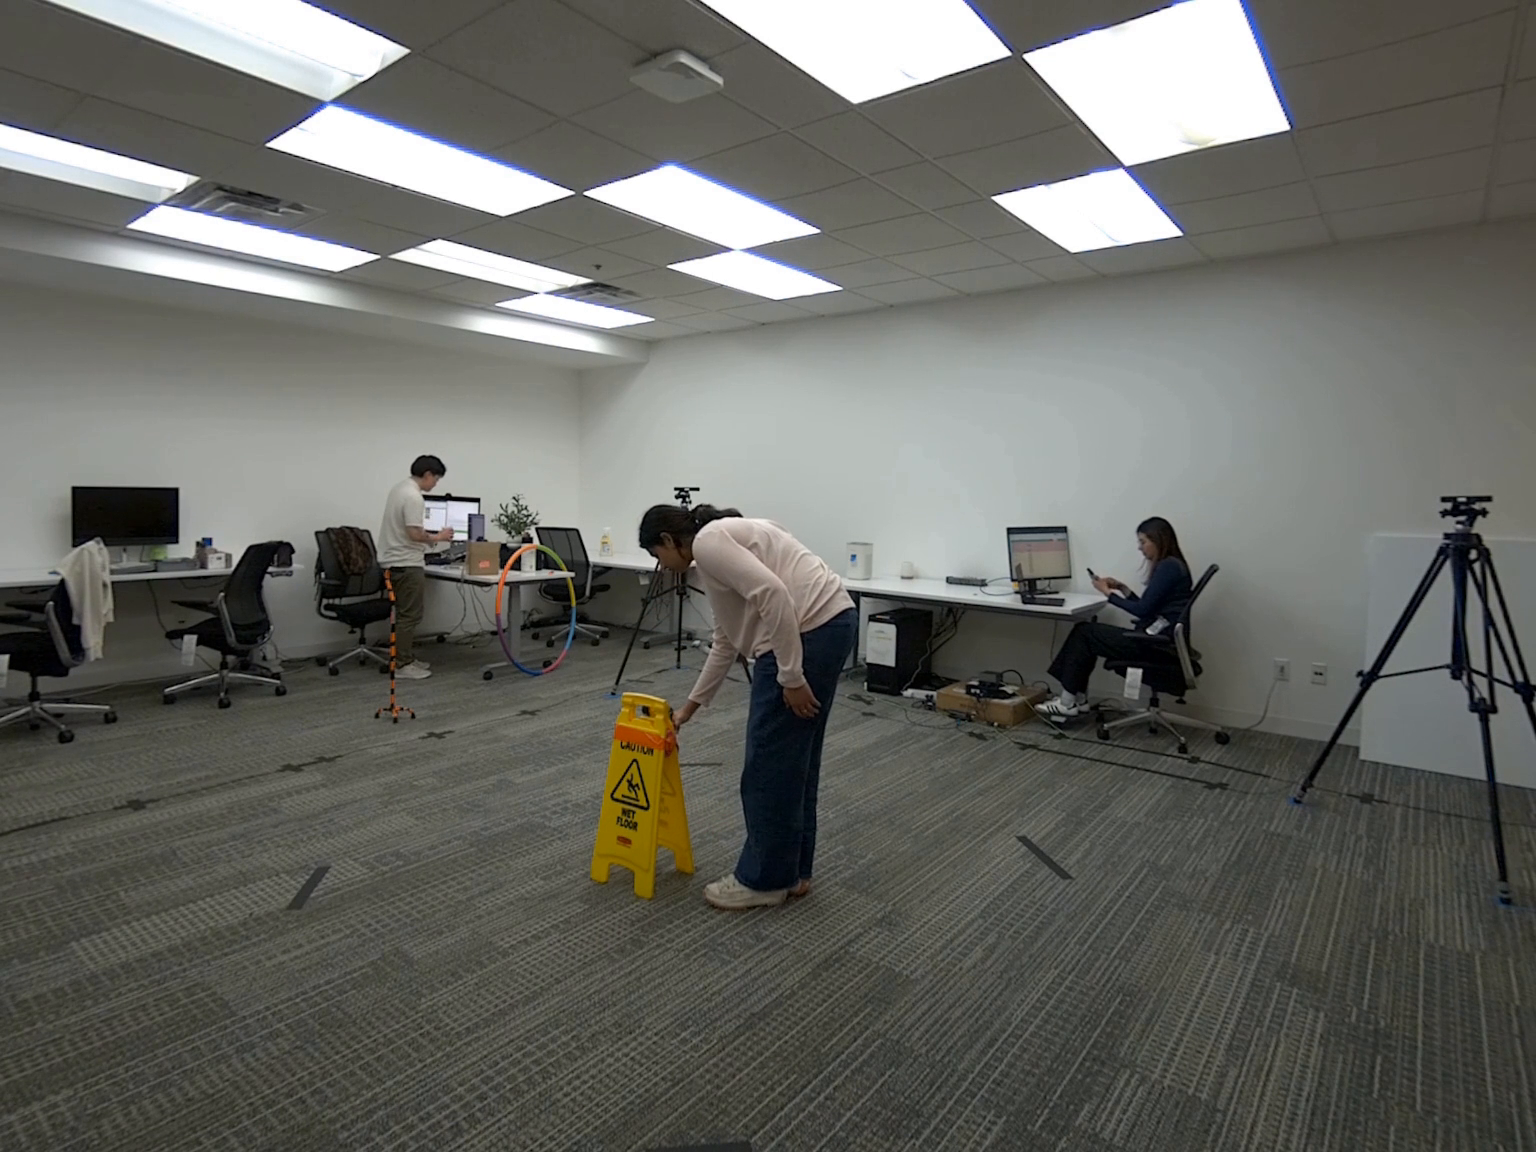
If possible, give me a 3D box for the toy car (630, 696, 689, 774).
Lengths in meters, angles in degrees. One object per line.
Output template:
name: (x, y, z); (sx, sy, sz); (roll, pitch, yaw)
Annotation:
toy car: (-0.395, 0.575, 3.060); (0.134, 0.248, 0.083); (3, 26, 31)
